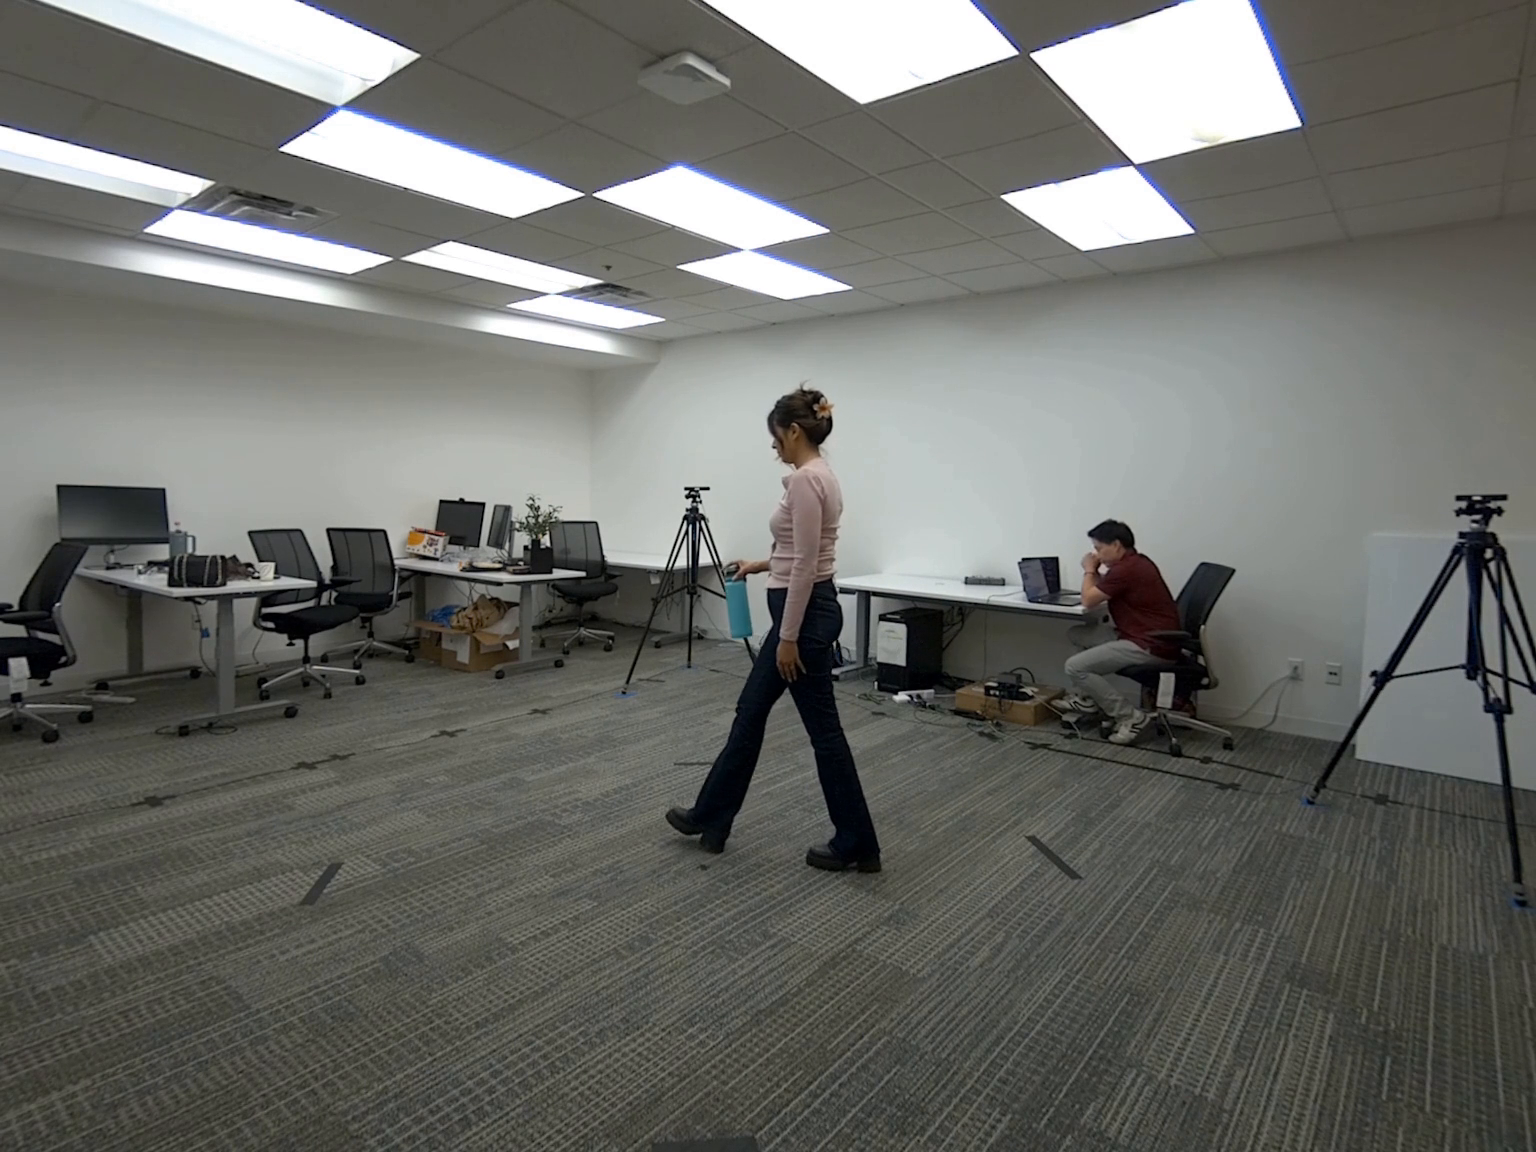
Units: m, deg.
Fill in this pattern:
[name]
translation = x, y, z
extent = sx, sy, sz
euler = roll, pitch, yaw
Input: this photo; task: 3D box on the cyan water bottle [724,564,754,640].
[cyan water bottle]
translation = -0.132, 0.101, 3.435
extent = 0.092, 0.283, 0.092
euler = -5, -1, -2
